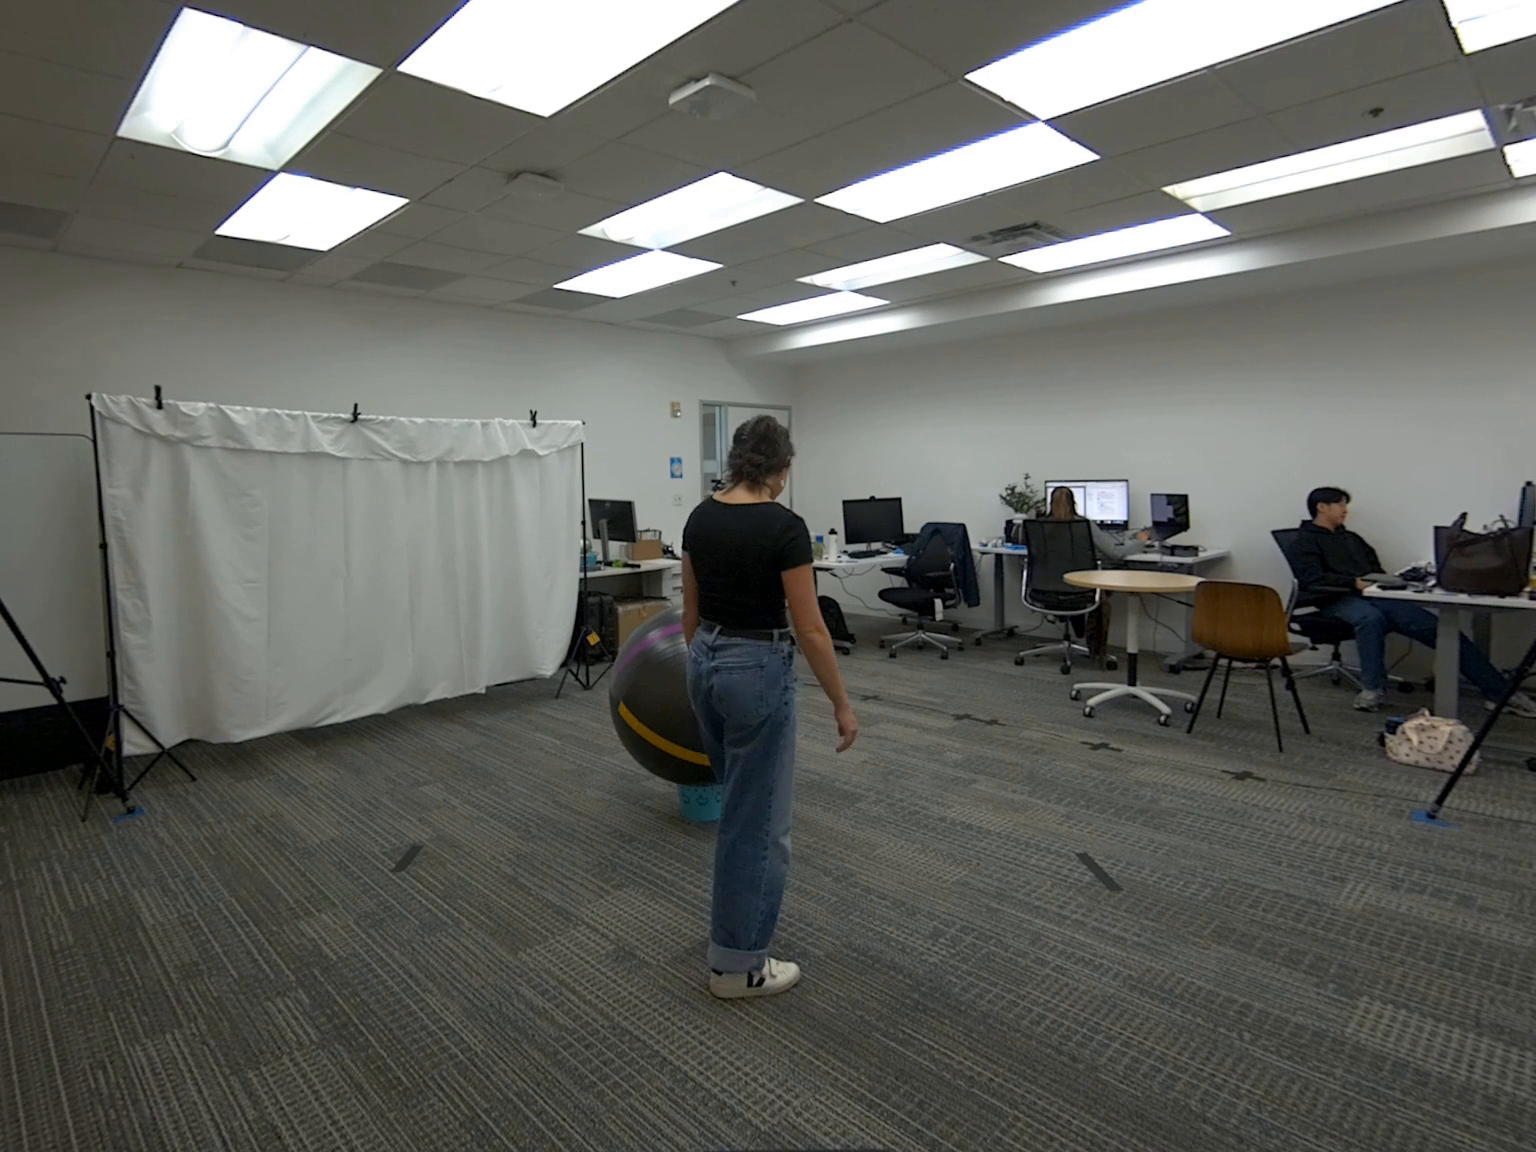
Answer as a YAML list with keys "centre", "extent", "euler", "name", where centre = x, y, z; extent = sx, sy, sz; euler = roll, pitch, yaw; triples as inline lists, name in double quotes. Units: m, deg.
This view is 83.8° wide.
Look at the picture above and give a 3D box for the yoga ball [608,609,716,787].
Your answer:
- centre: [-0.285, 0.493, 3.574]
  extent: [0.757, 0.755, 0.762]
  euler: [-1, 5, -2]
  name: "yoga ball"
